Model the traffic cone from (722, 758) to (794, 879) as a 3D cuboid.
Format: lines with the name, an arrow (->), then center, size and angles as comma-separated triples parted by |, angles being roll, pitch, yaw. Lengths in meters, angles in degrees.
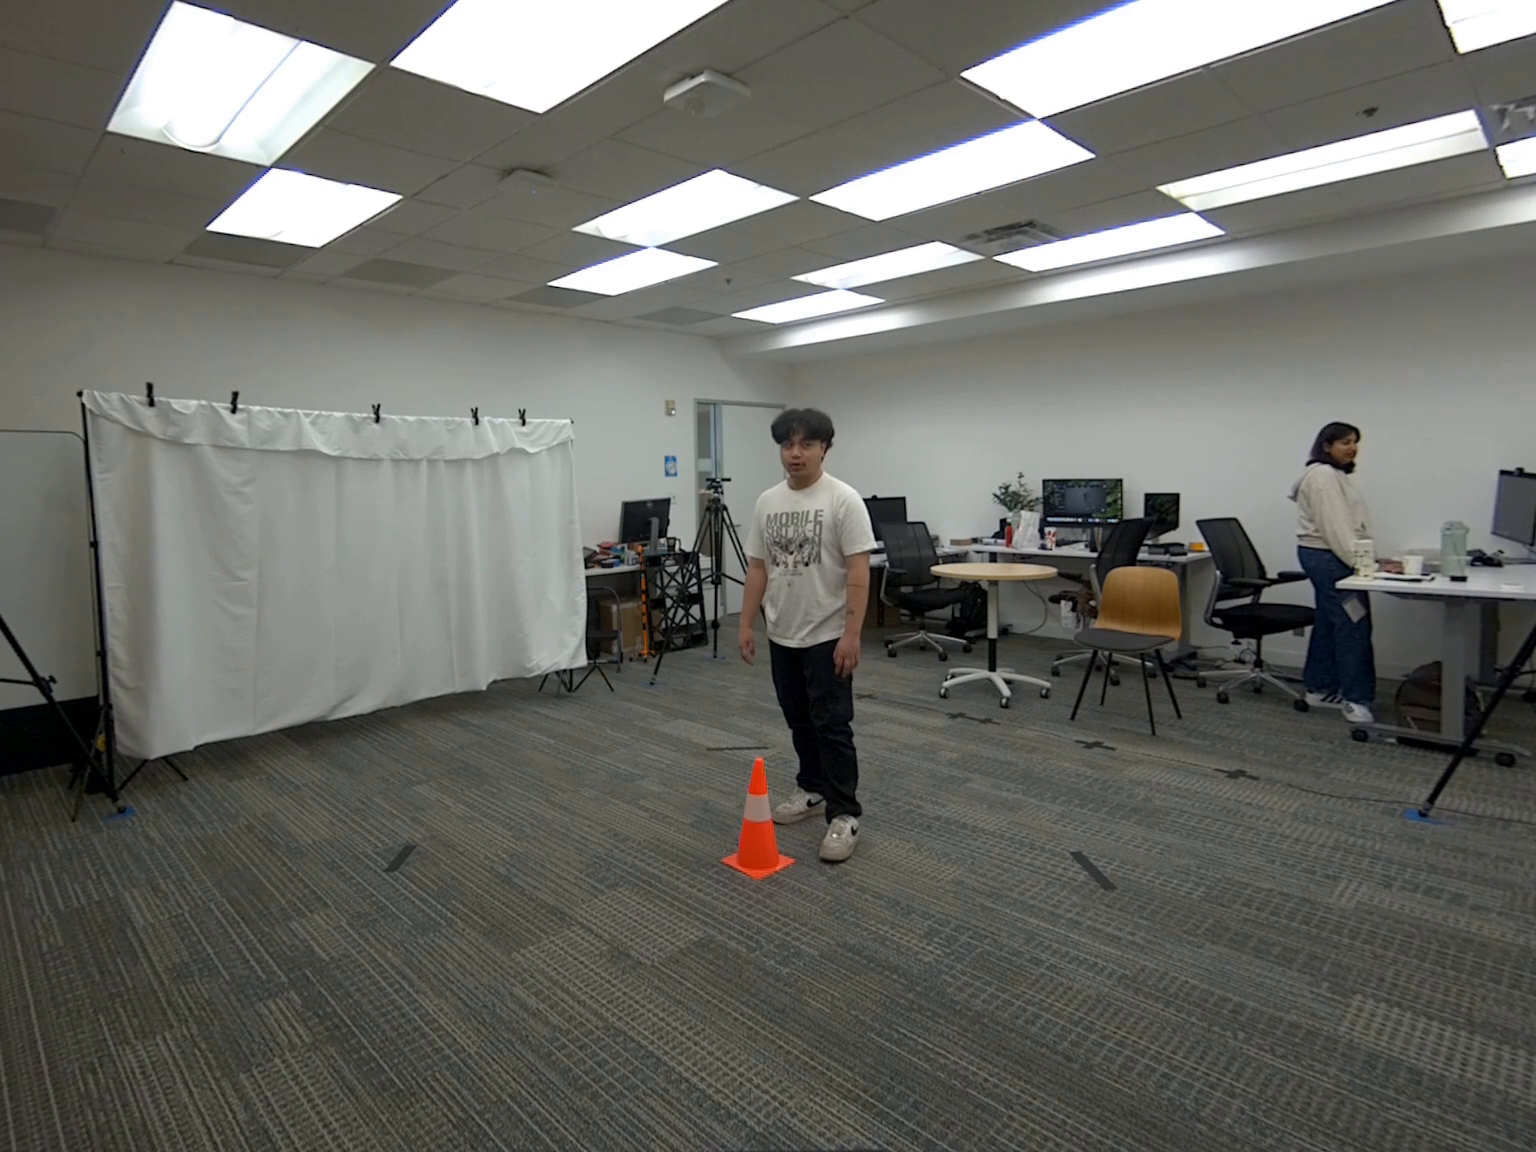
traffic cone -> -0.032, 0.858, 3.104 | 0.211, 0.382, 0.198 | 4, 6, 40
